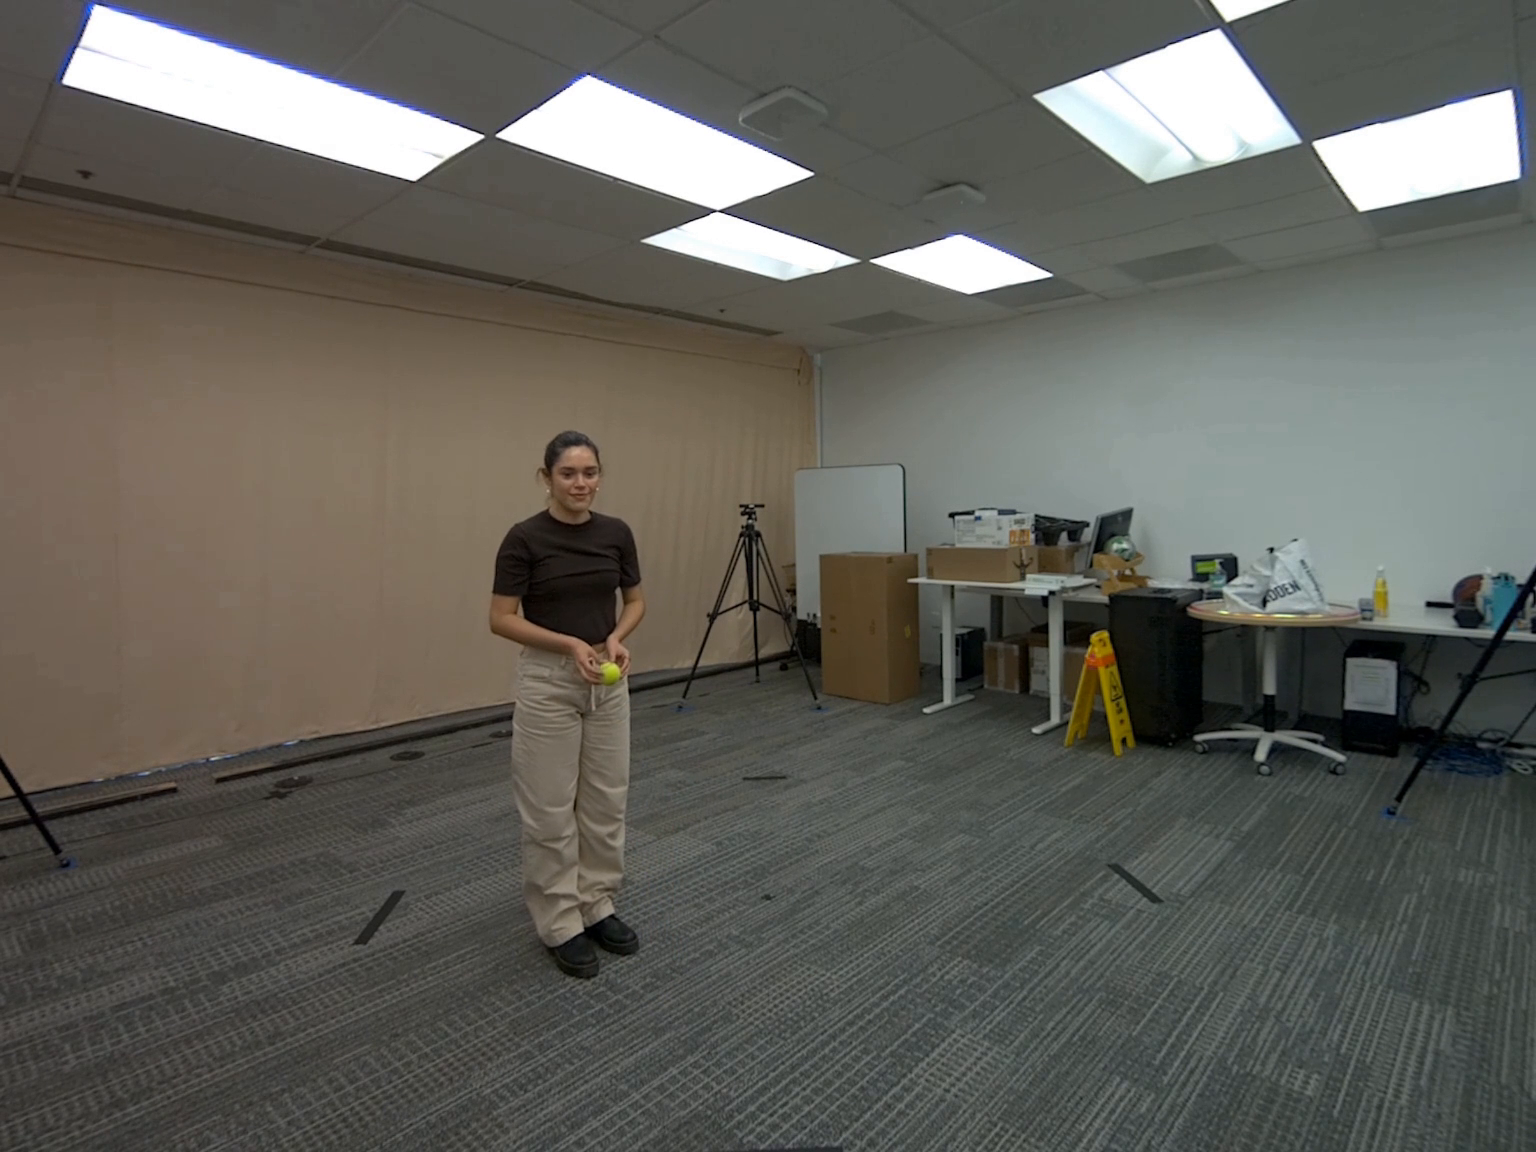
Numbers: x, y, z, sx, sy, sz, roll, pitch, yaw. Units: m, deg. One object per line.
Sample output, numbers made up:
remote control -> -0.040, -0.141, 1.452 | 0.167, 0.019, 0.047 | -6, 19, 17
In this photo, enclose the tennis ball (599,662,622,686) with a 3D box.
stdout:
tennis ball -> -0.461, 0.286, 2.451 | 0.066, 0.066, 0.067 | -1, 4, -2
